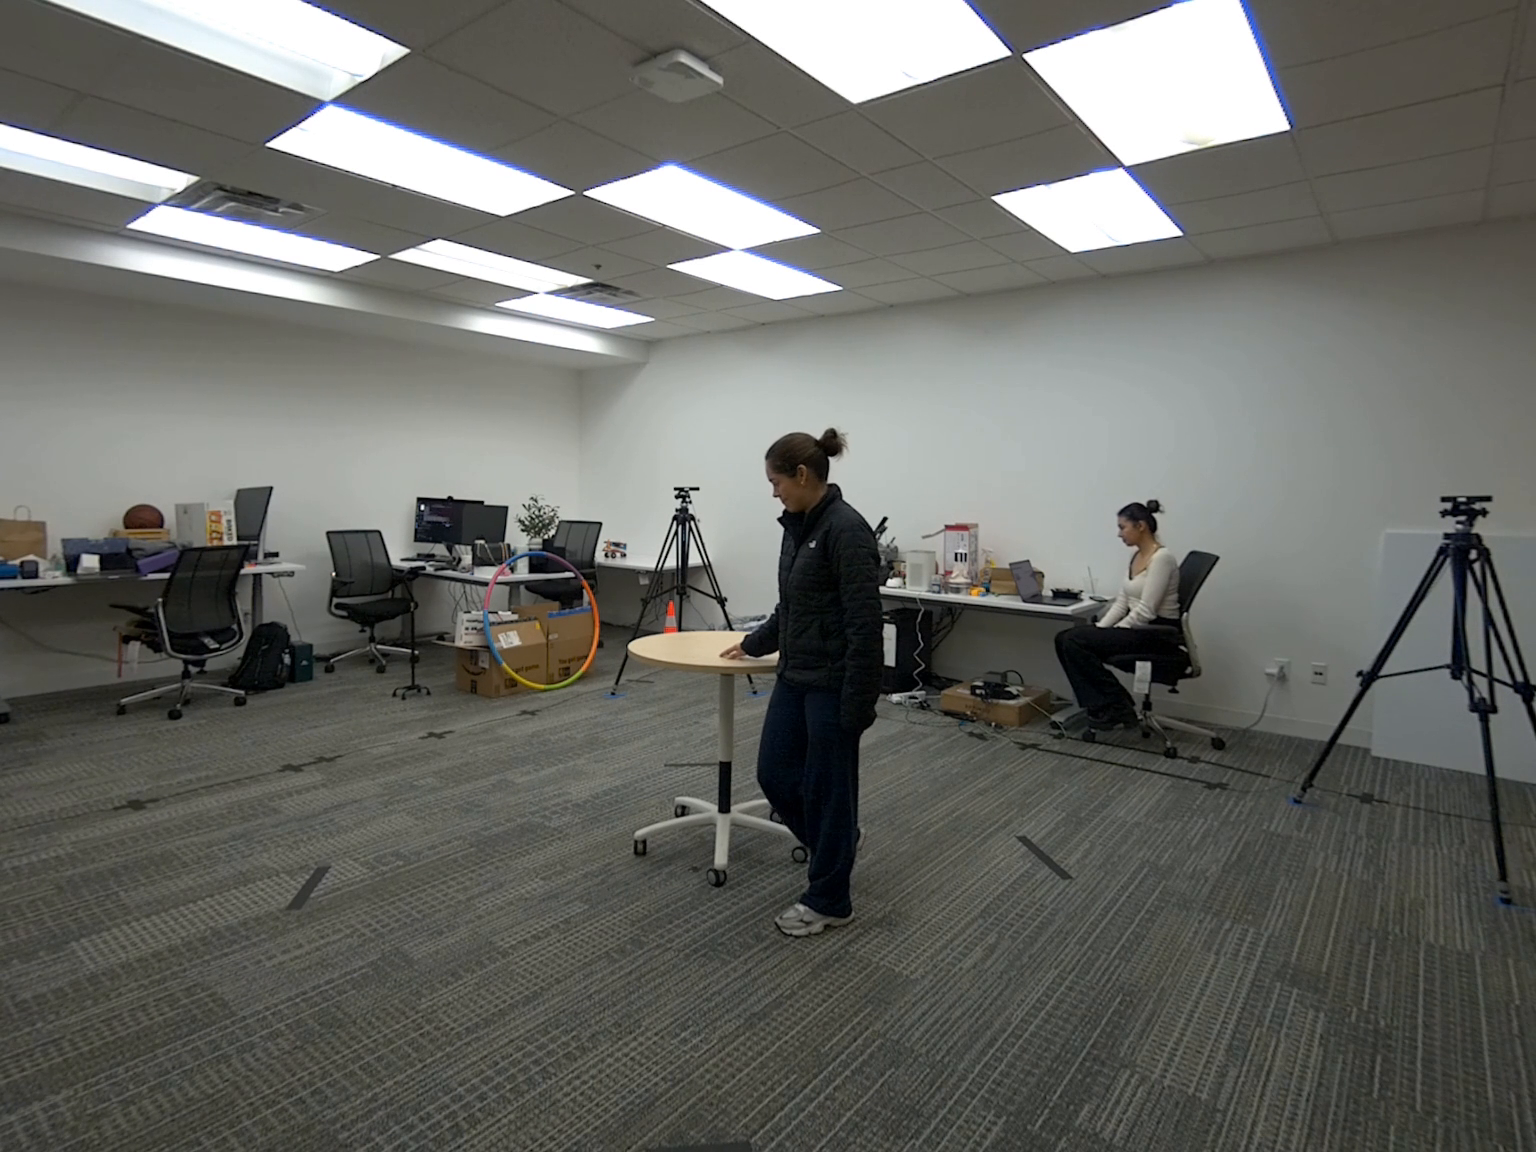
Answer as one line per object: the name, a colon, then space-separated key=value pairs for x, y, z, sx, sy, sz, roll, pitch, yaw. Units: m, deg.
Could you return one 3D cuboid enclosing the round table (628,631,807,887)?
round table: x=-0.139 y=0.656 z=3.286 sx=0.784 sy=0.784 sz=0.789 roll=1 pitch=4 yaw=-2
